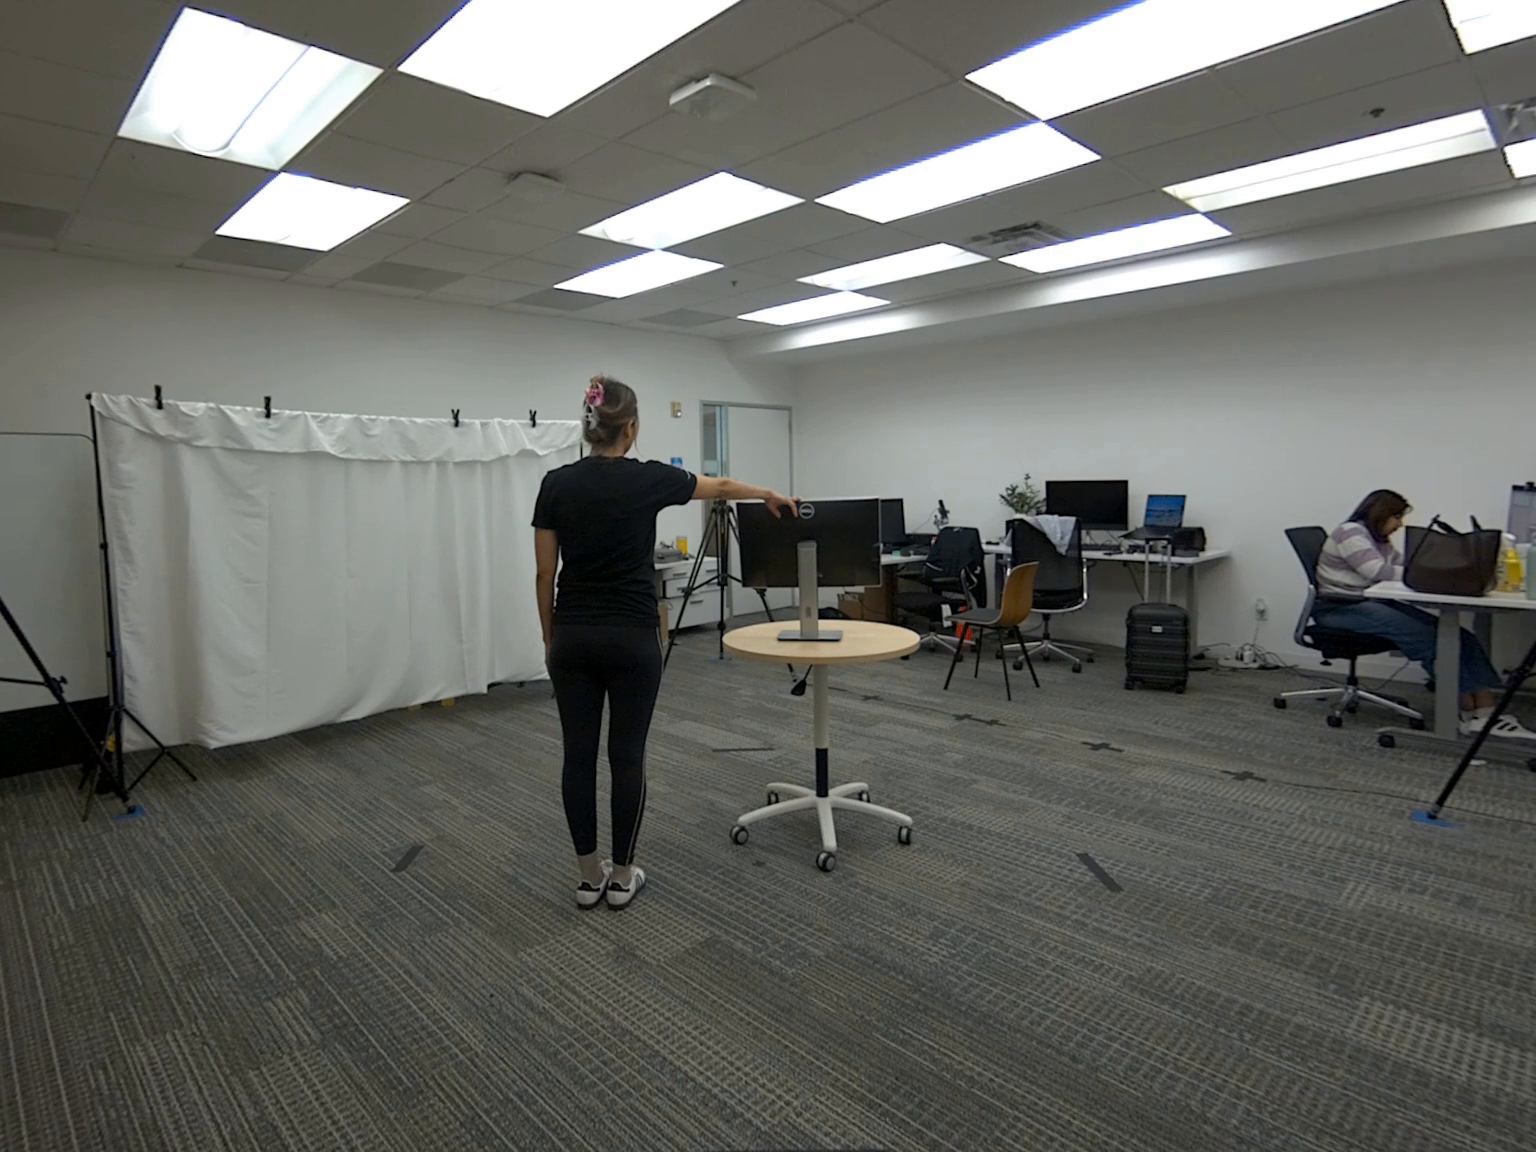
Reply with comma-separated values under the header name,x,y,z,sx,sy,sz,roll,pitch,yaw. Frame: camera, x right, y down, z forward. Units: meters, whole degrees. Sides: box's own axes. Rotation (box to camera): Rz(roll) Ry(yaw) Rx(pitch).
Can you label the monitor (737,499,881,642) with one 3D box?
name,x,y,z,sx,sy,sz,roll,pitch,yaw
monitor,0.155,-0.023,3.329,0.543,0.521,0.186,-1,4,8
